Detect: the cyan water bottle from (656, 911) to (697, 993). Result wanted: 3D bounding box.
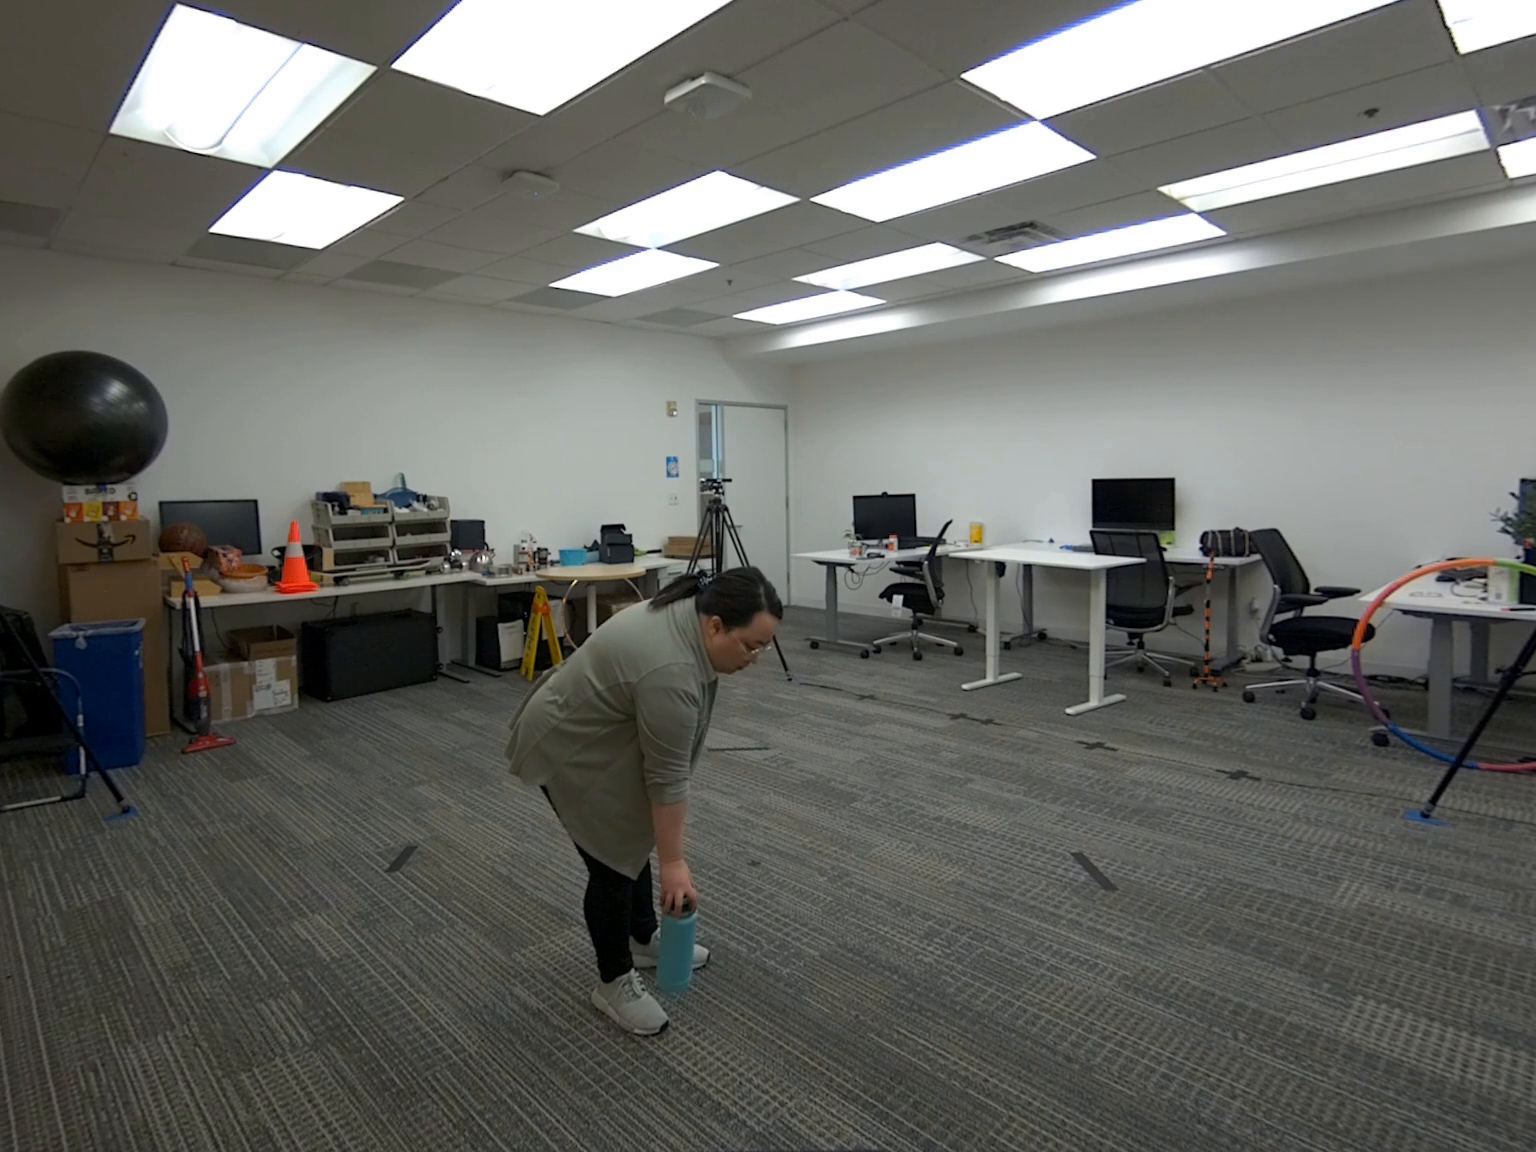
[{"bbox_3d":[-0.224,0.895,2.133,0.092,0.280,0.094,6,17,-4],"label":"cyan water bottle"}]
